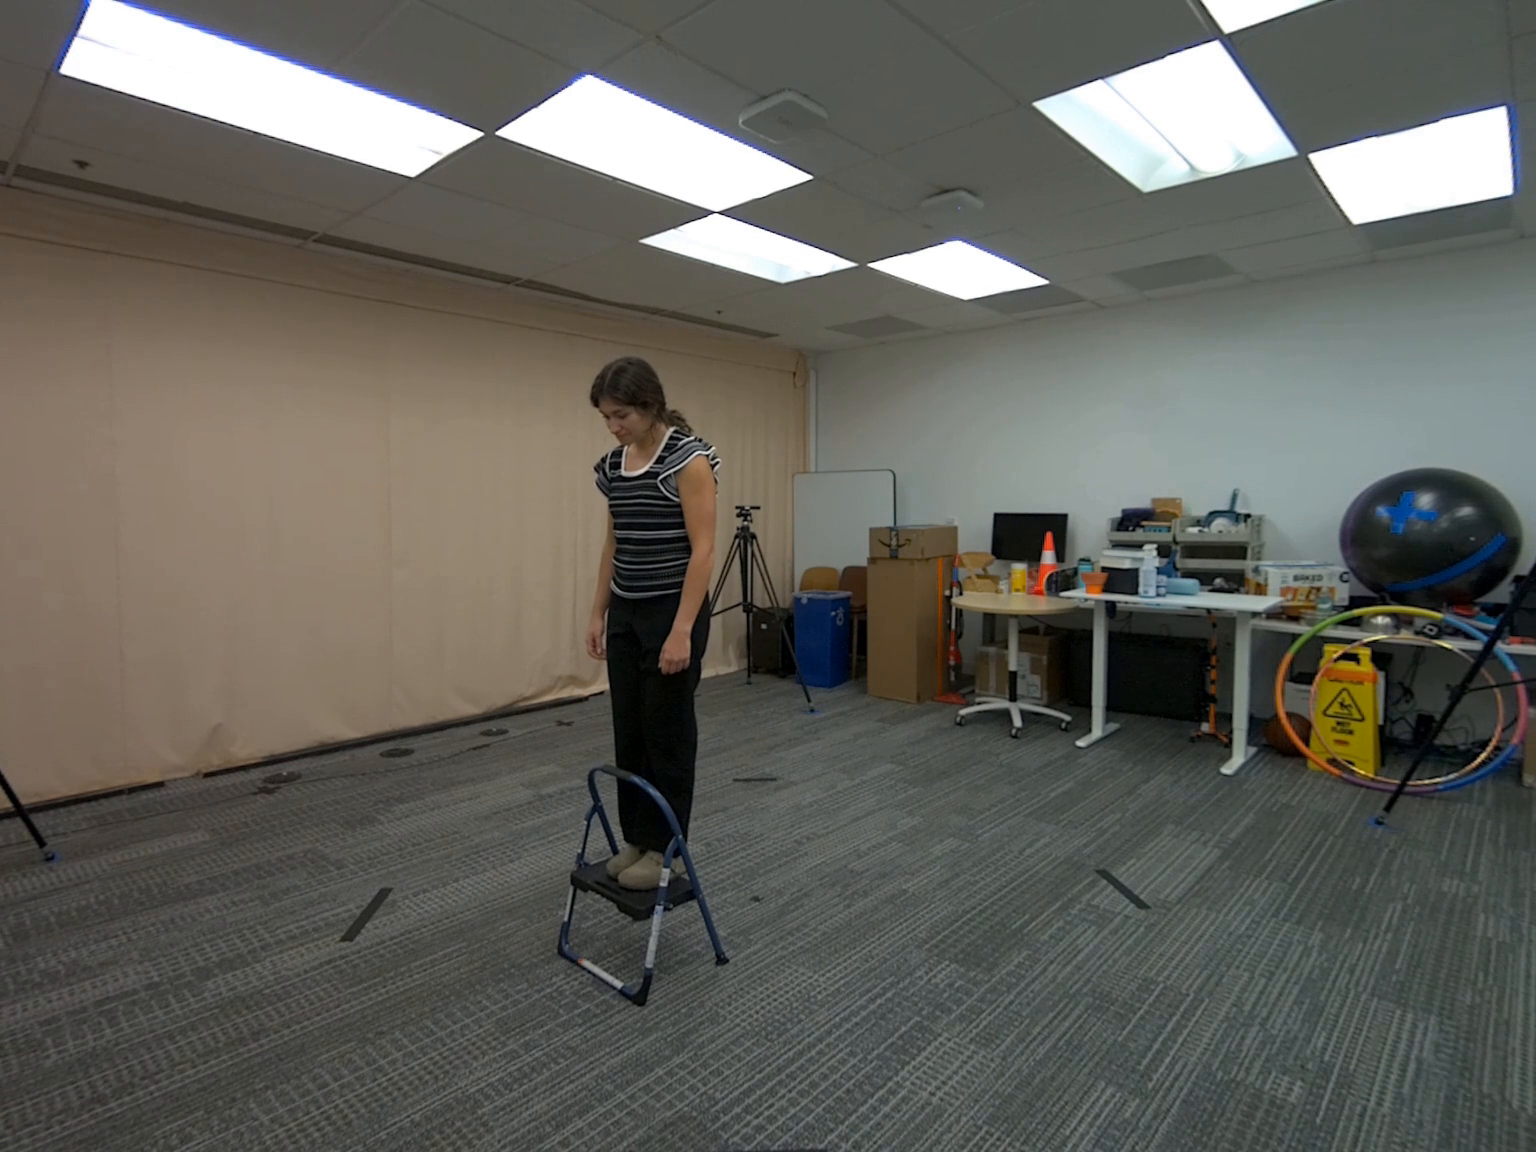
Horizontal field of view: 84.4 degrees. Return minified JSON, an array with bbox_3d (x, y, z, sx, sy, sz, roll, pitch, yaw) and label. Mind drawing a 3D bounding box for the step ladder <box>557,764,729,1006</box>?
[{"bbox_3d":[-0.393,0.877,2.585,0.445,0.605,0.339,3,5,42],"label":"step ladder"}]
